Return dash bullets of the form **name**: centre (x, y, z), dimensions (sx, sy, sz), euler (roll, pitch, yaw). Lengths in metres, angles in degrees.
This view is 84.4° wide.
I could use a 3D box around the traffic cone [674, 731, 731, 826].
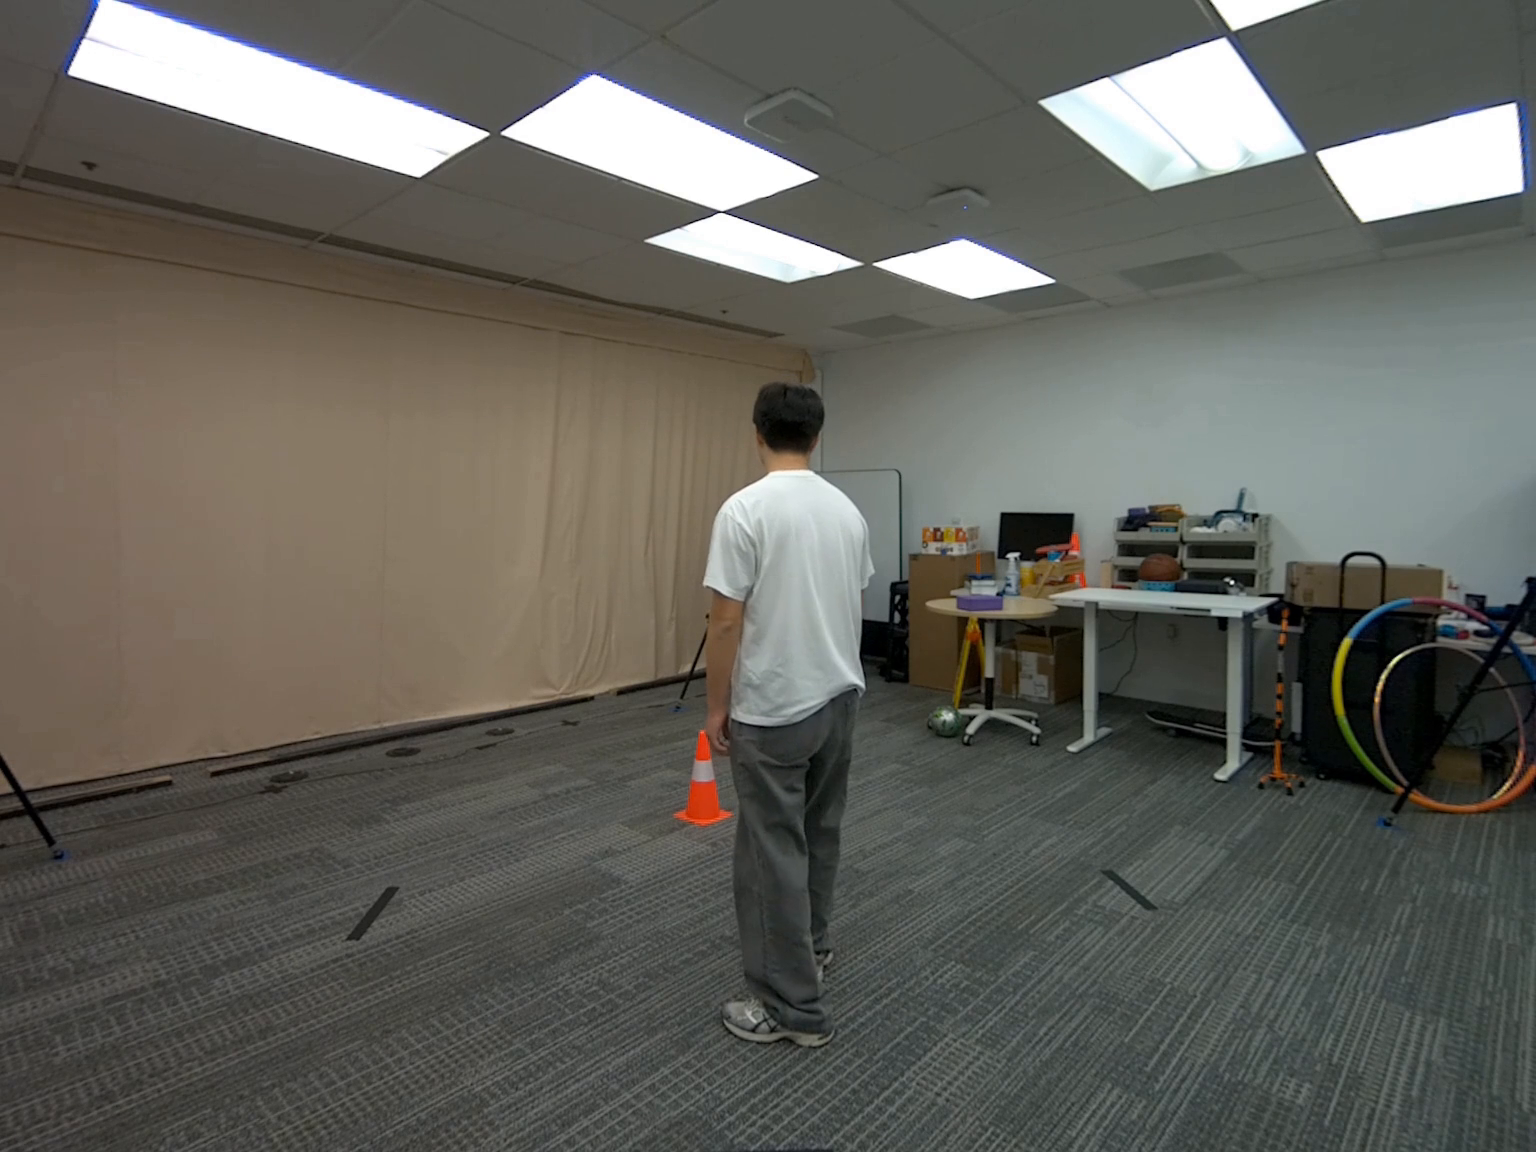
- **traffic cone**: centre (-0.289, 0.894, 3.802), dimensions (0.197, 0.383, 0.212), euler (0, 1, -43)
